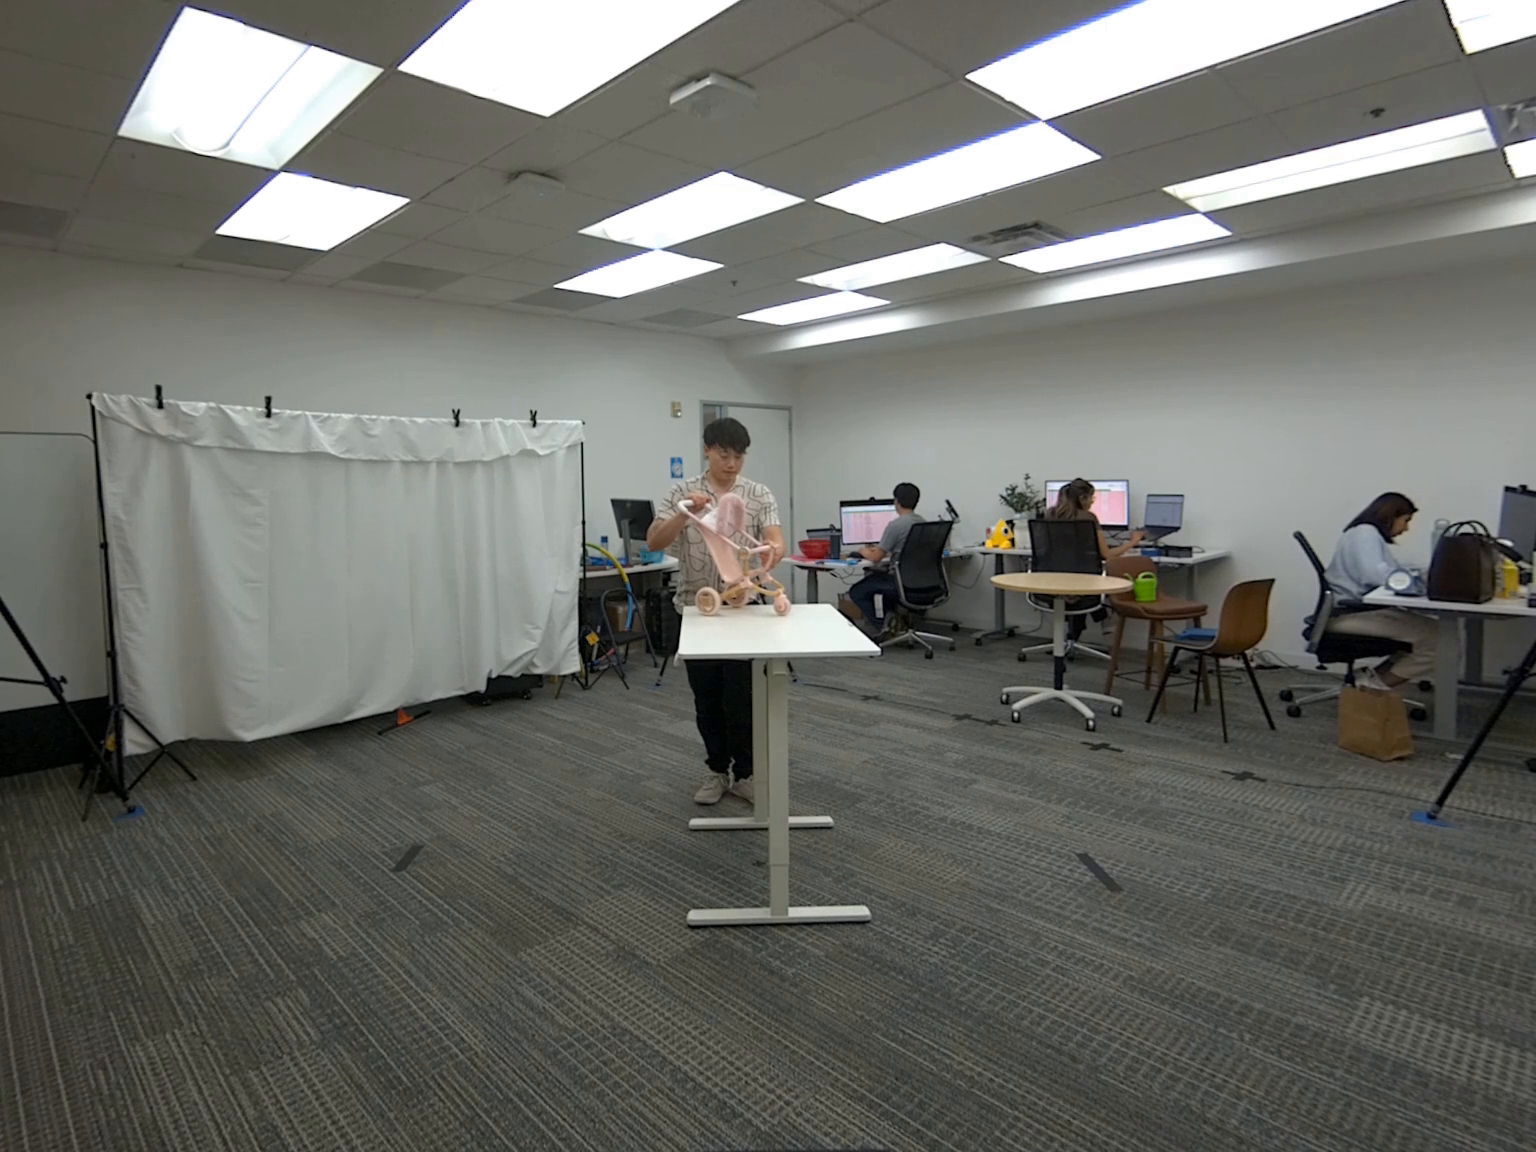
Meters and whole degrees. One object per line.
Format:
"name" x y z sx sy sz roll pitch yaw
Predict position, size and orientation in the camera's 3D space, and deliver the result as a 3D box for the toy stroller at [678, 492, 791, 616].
"toy stroller" -0.120 -0.080 3.315 0.348 0.537 0.275 -15 -4 33
